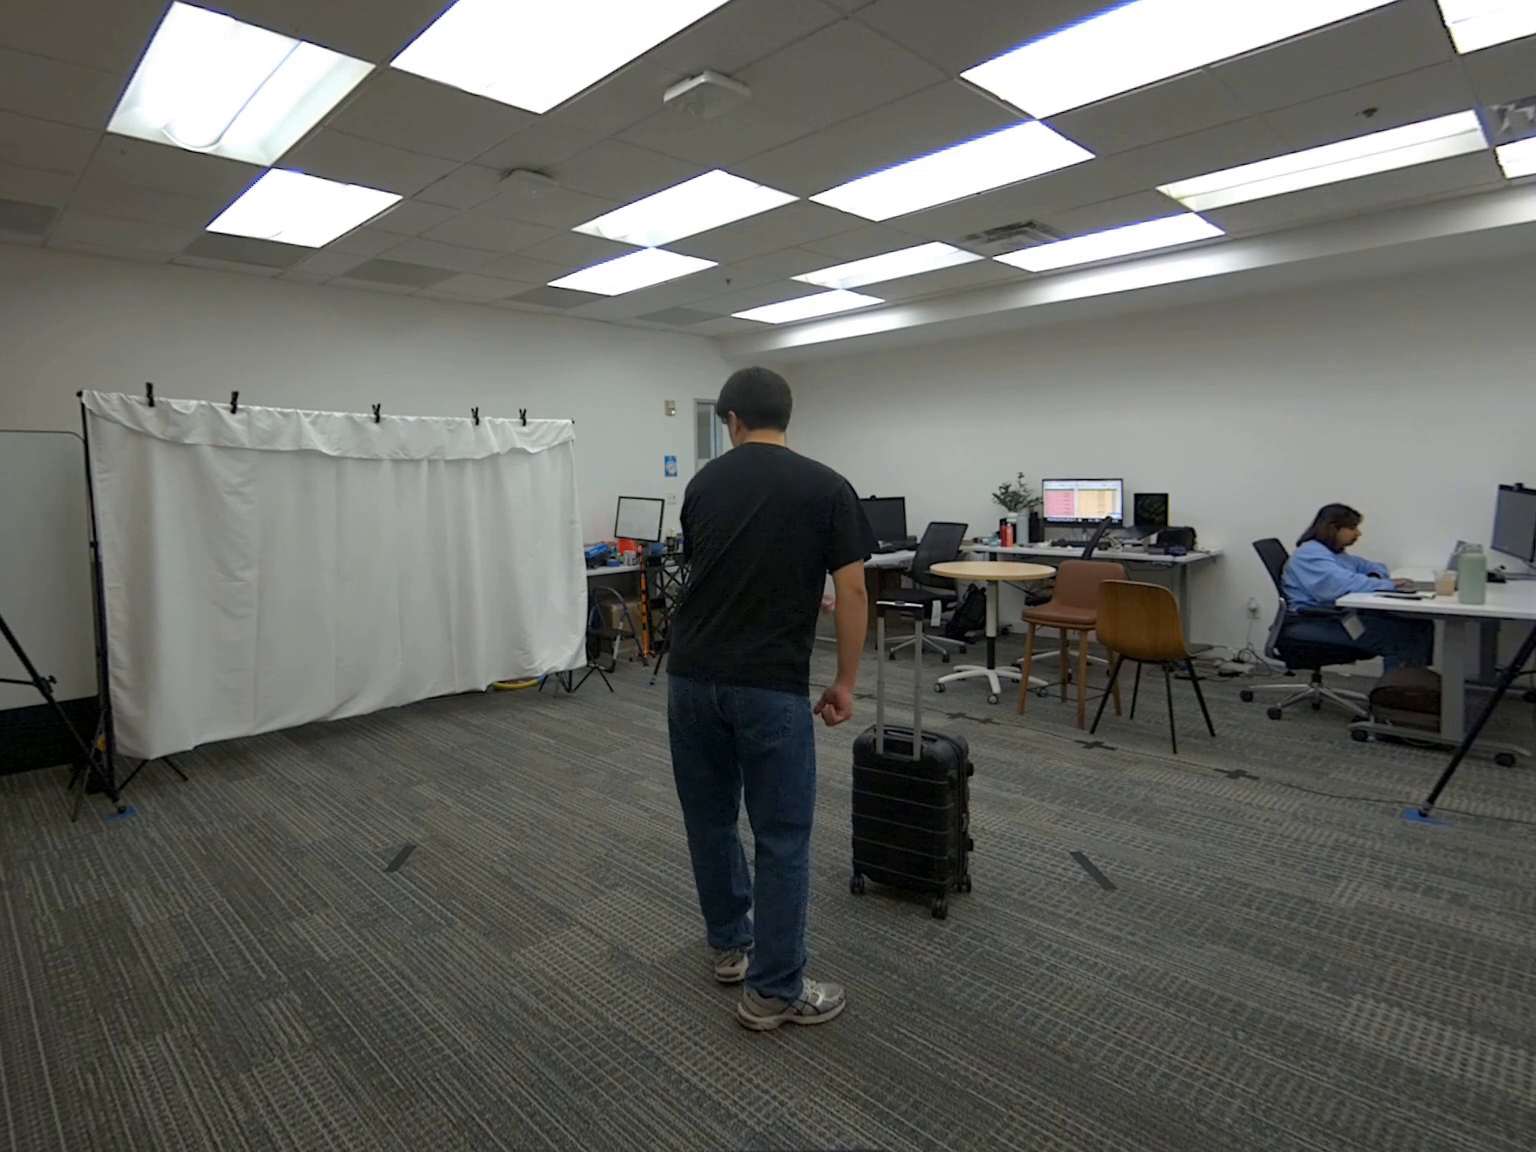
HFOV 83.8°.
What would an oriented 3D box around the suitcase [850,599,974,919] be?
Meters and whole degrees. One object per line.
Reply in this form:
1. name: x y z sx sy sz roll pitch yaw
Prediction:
1. suitcase: 0.488 0.583 2.875 0.395 0.978 0.250 1 0 35
